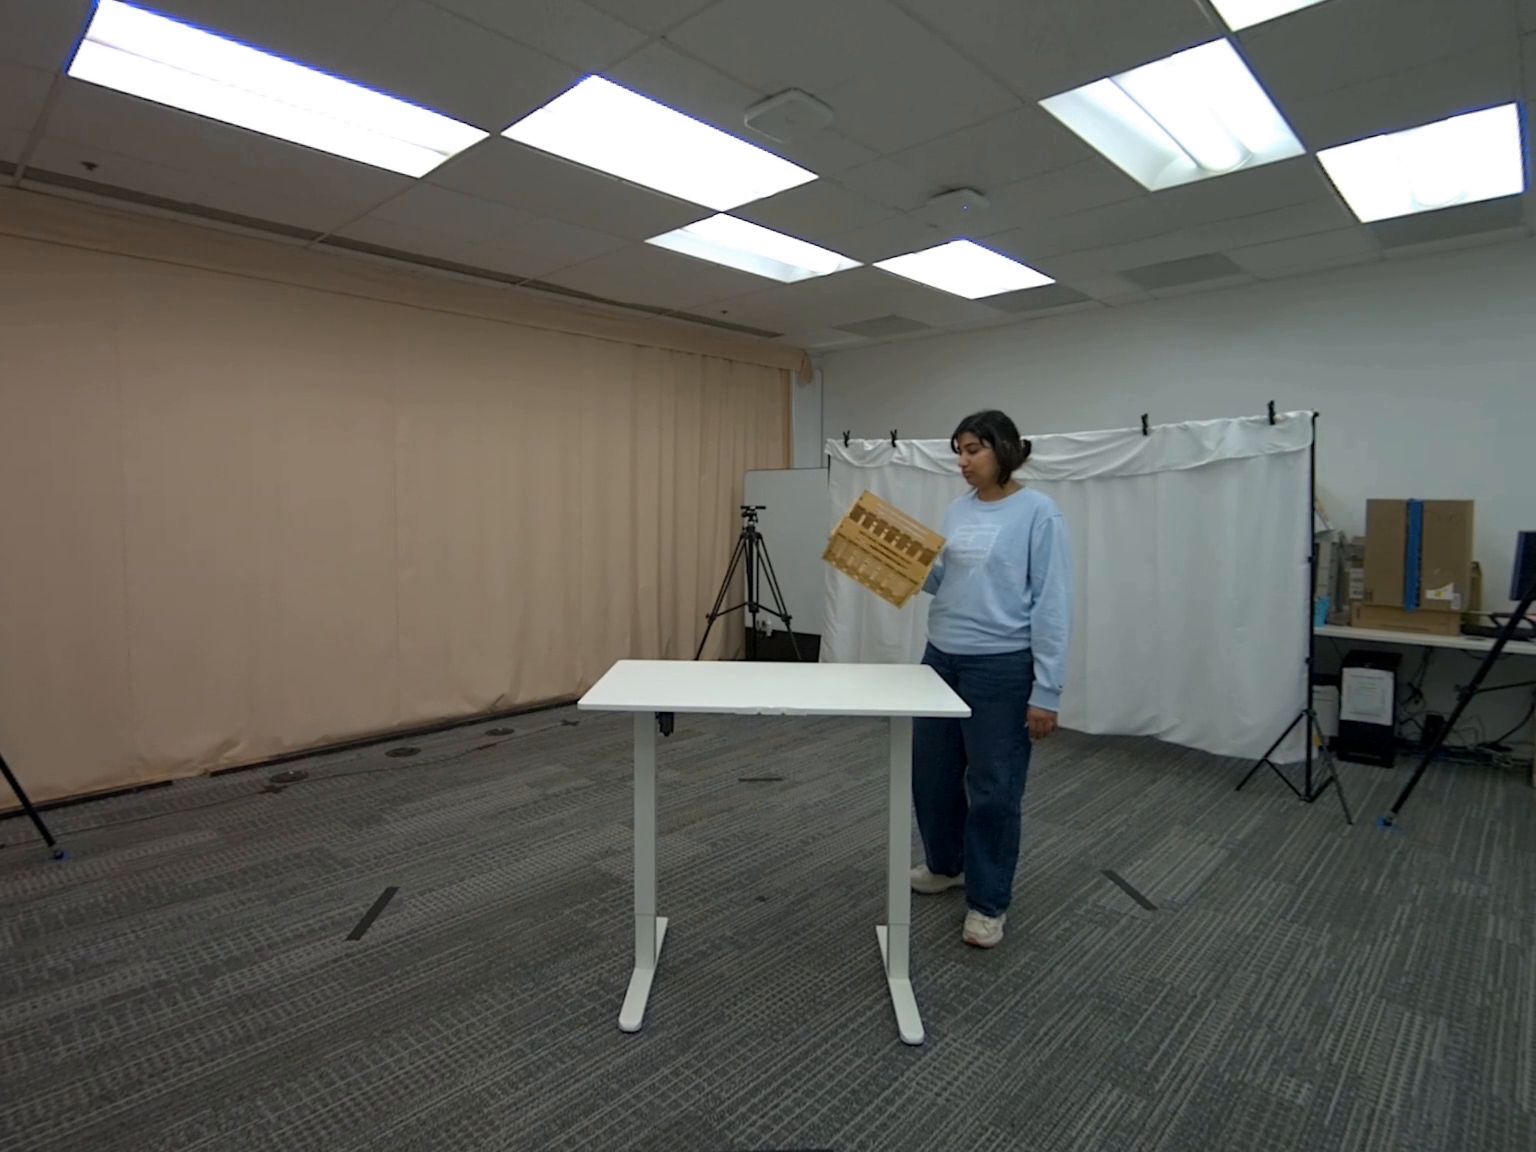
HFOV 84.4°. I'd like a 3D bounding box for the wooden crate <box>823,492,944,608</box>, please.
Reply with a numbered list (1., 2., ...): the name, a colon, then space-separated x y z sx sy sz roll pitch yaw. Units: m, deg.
1. wooden crate: 0.395 -0.108 2.700 0.327 0.272 0.300 34 -24 6
